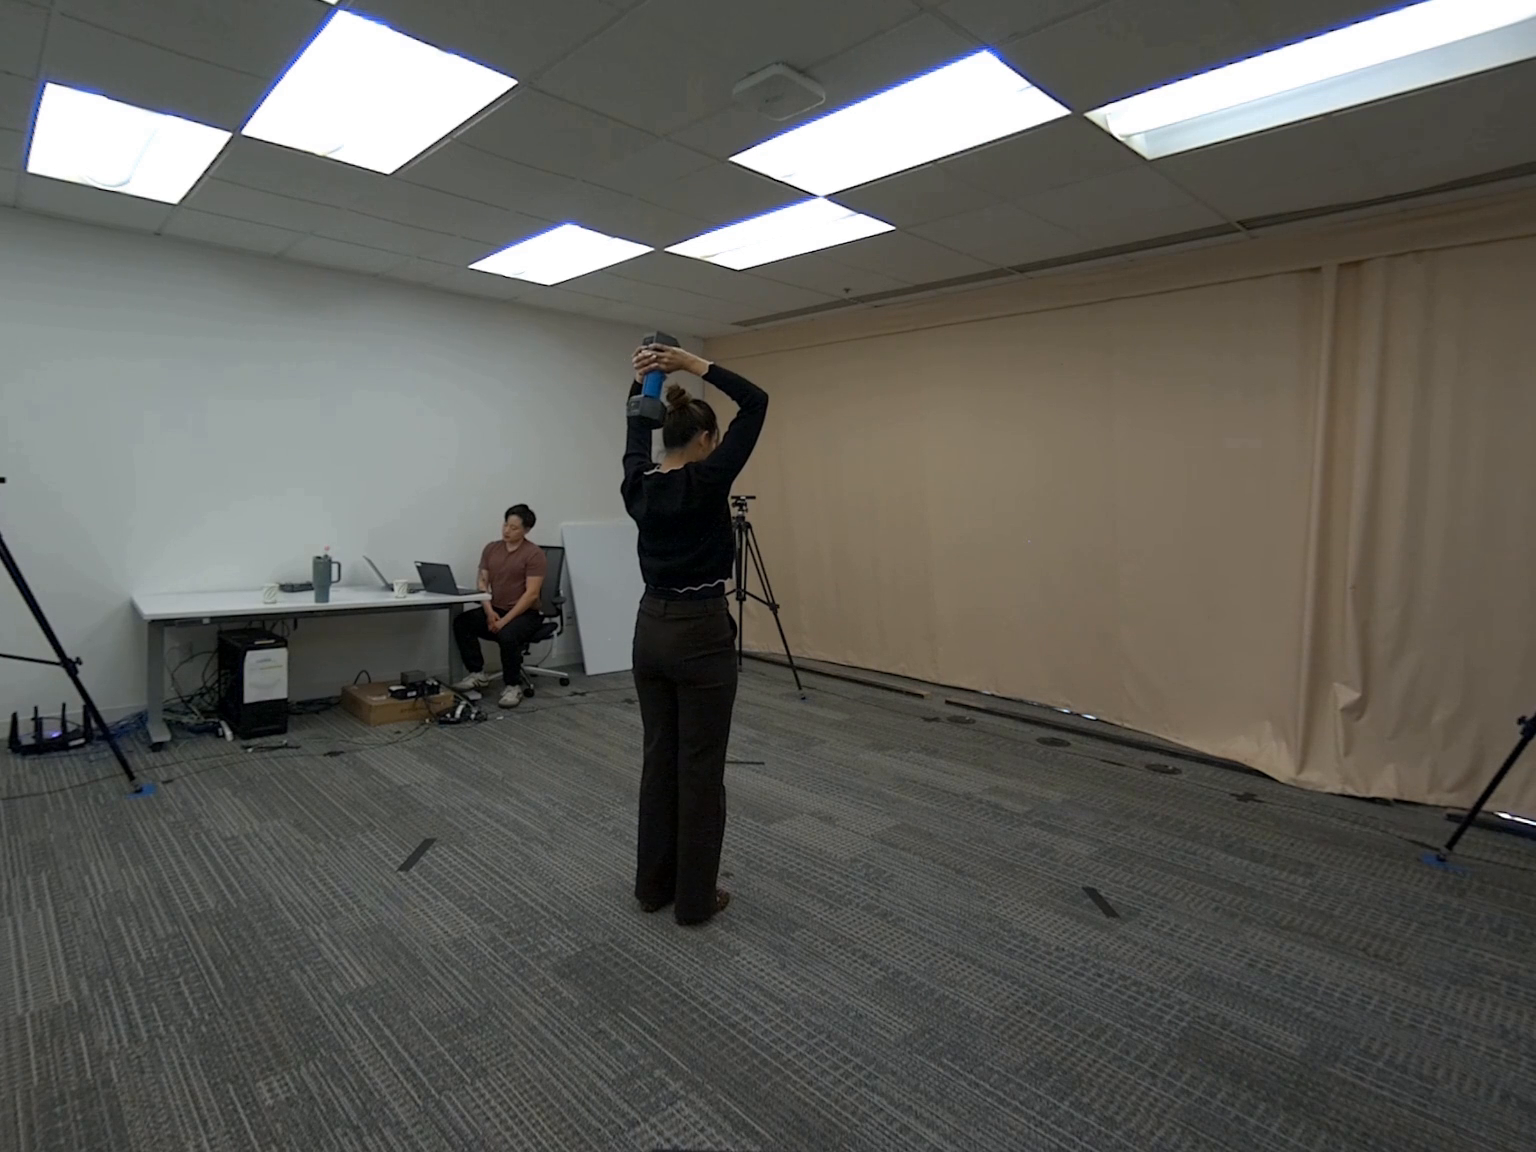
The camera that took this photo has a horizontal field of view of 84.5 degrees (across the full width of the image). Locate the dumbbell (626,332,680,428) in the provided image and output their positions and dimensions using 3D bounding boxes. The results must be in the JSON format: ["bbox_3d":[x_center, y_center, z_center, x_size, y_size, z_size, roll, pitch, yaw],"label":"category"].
[{"bbox_3d":[-0.362,-0.606,2.625,0.110,0.295,0.121,9,-10,11],"label":"dumbbell"}]
